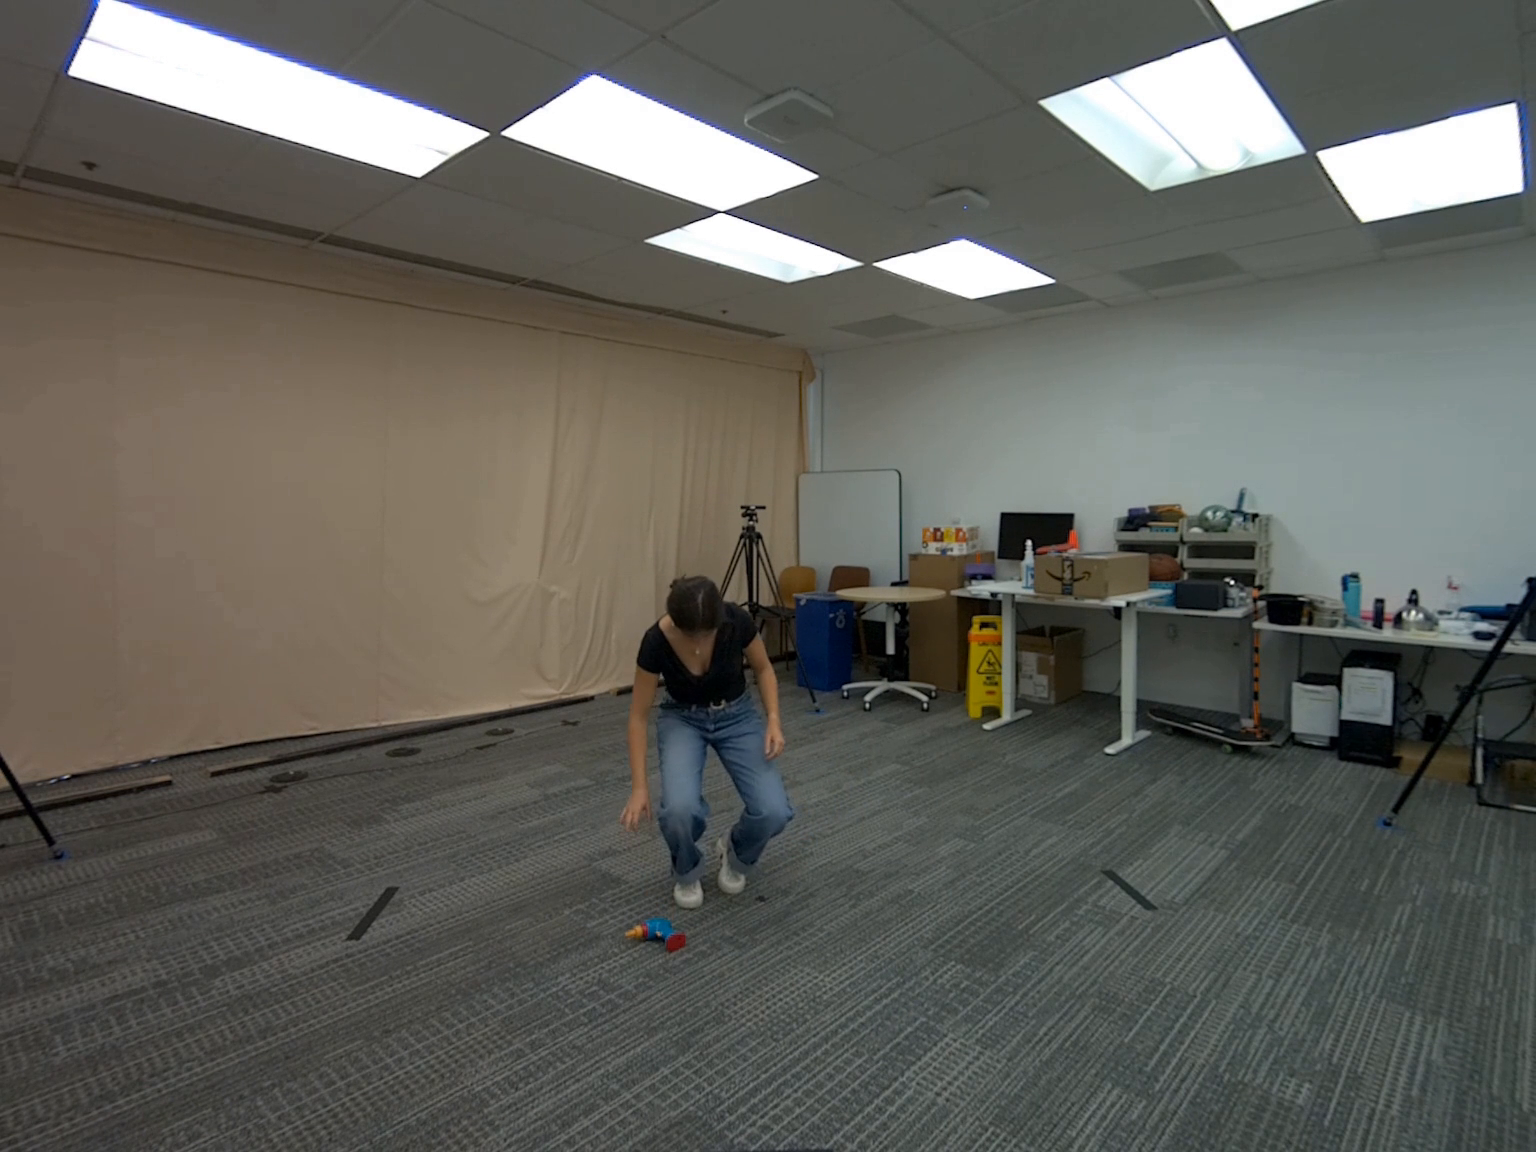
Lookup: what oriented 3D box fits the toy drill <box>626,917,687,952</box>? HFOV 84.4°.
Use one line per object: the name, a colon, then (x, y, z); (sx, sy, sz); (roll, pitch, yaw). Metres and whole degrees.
toy drill: (-0.359, 1.139, 2.676); (0.164, 0.061, 0.151); (4, 2, -35)
